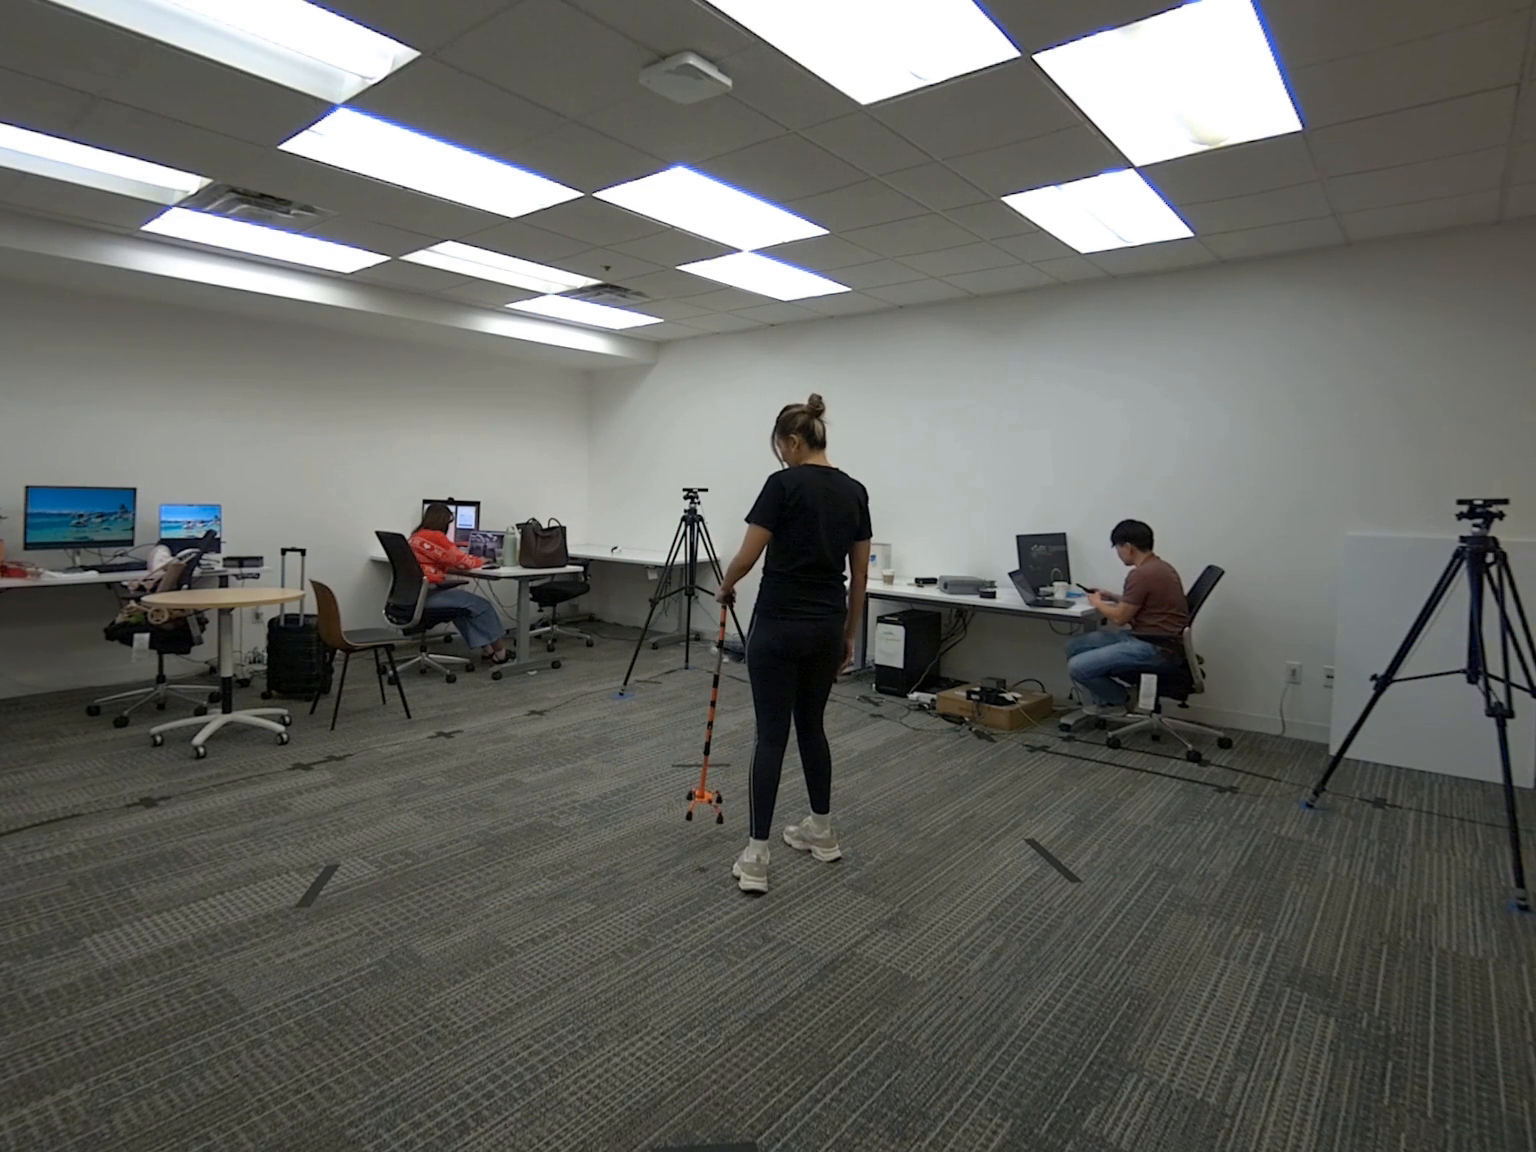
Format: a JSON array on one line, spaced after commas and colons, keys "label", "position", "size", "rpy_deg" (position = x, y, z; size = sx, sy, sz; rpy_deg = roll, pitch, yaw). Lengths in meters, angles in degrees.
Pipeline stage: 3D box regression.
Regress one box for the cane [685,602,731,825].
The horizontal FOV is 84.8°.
[{"label": "cane", "position": [-0.211, 0.503, 3.367], "size": [0.151, 0.901, 0.208], "rpy_deg": [6, 9, -2]}]
